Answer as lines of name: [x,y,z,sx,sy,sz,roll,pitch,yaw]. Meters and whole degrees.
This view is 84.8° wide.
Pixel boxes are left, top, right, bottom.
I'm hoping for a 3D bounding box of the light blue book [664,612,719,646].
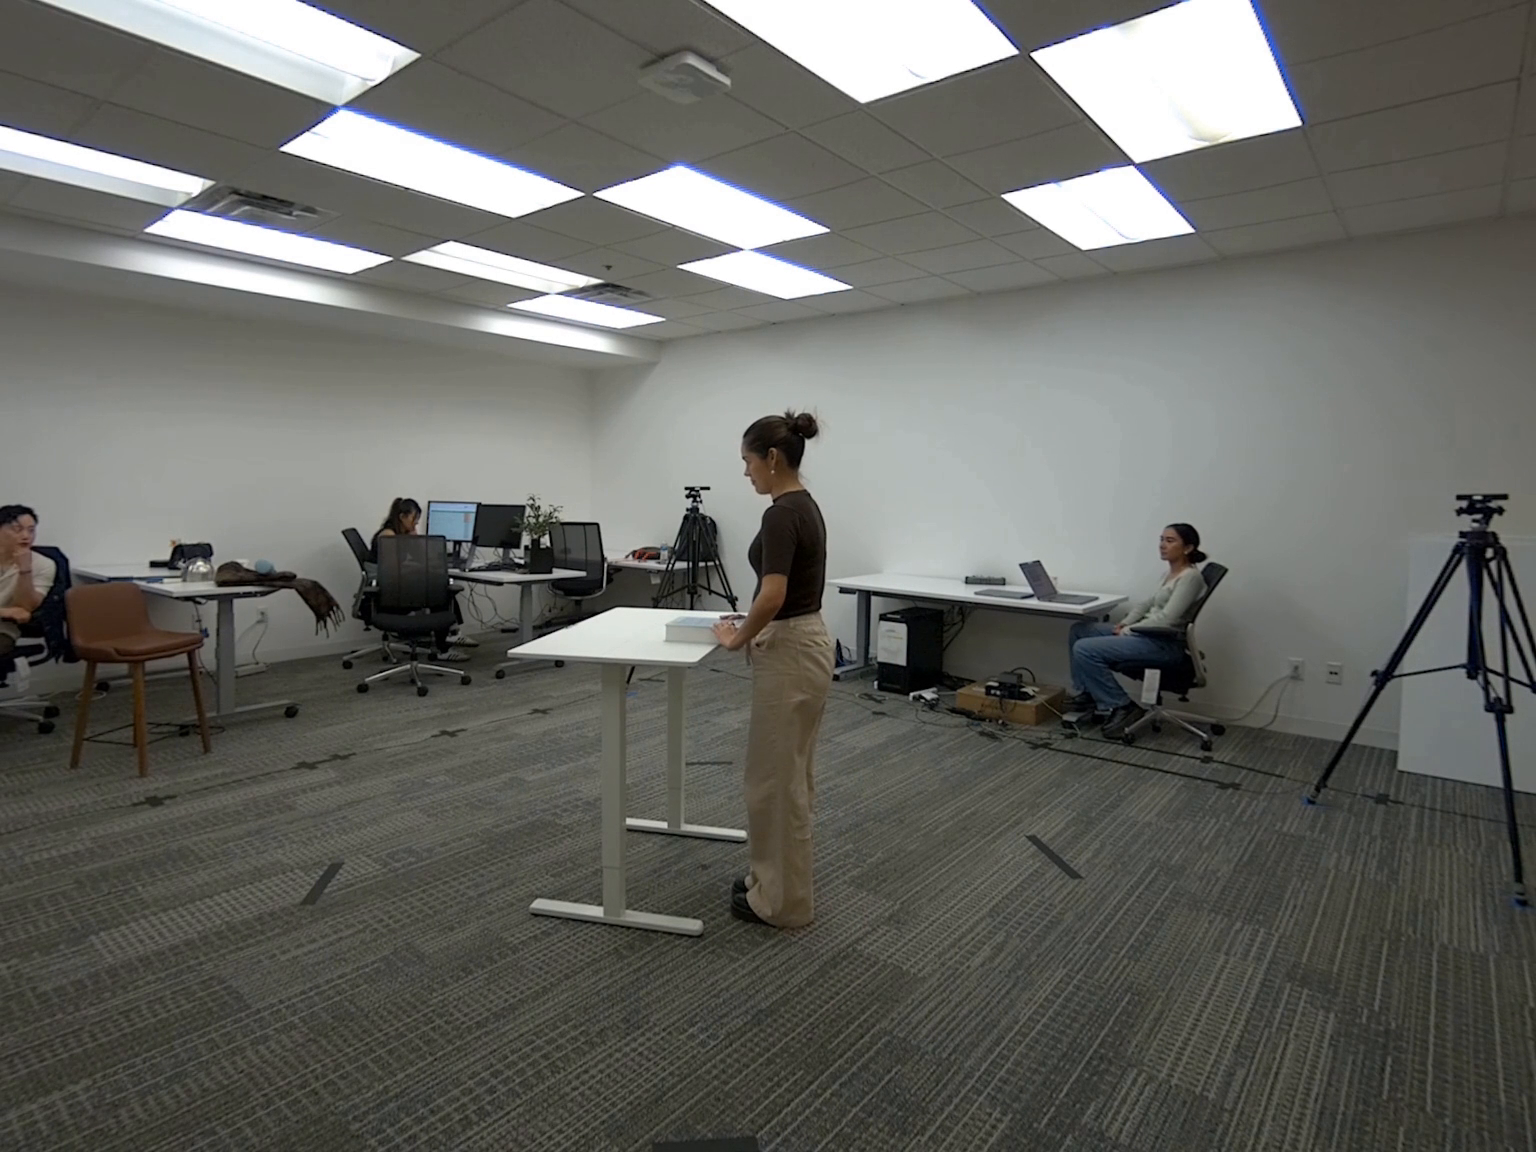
light blue book: [-0.209,0.177,2.848,0.265,0.059,0.190,2,8,12]
